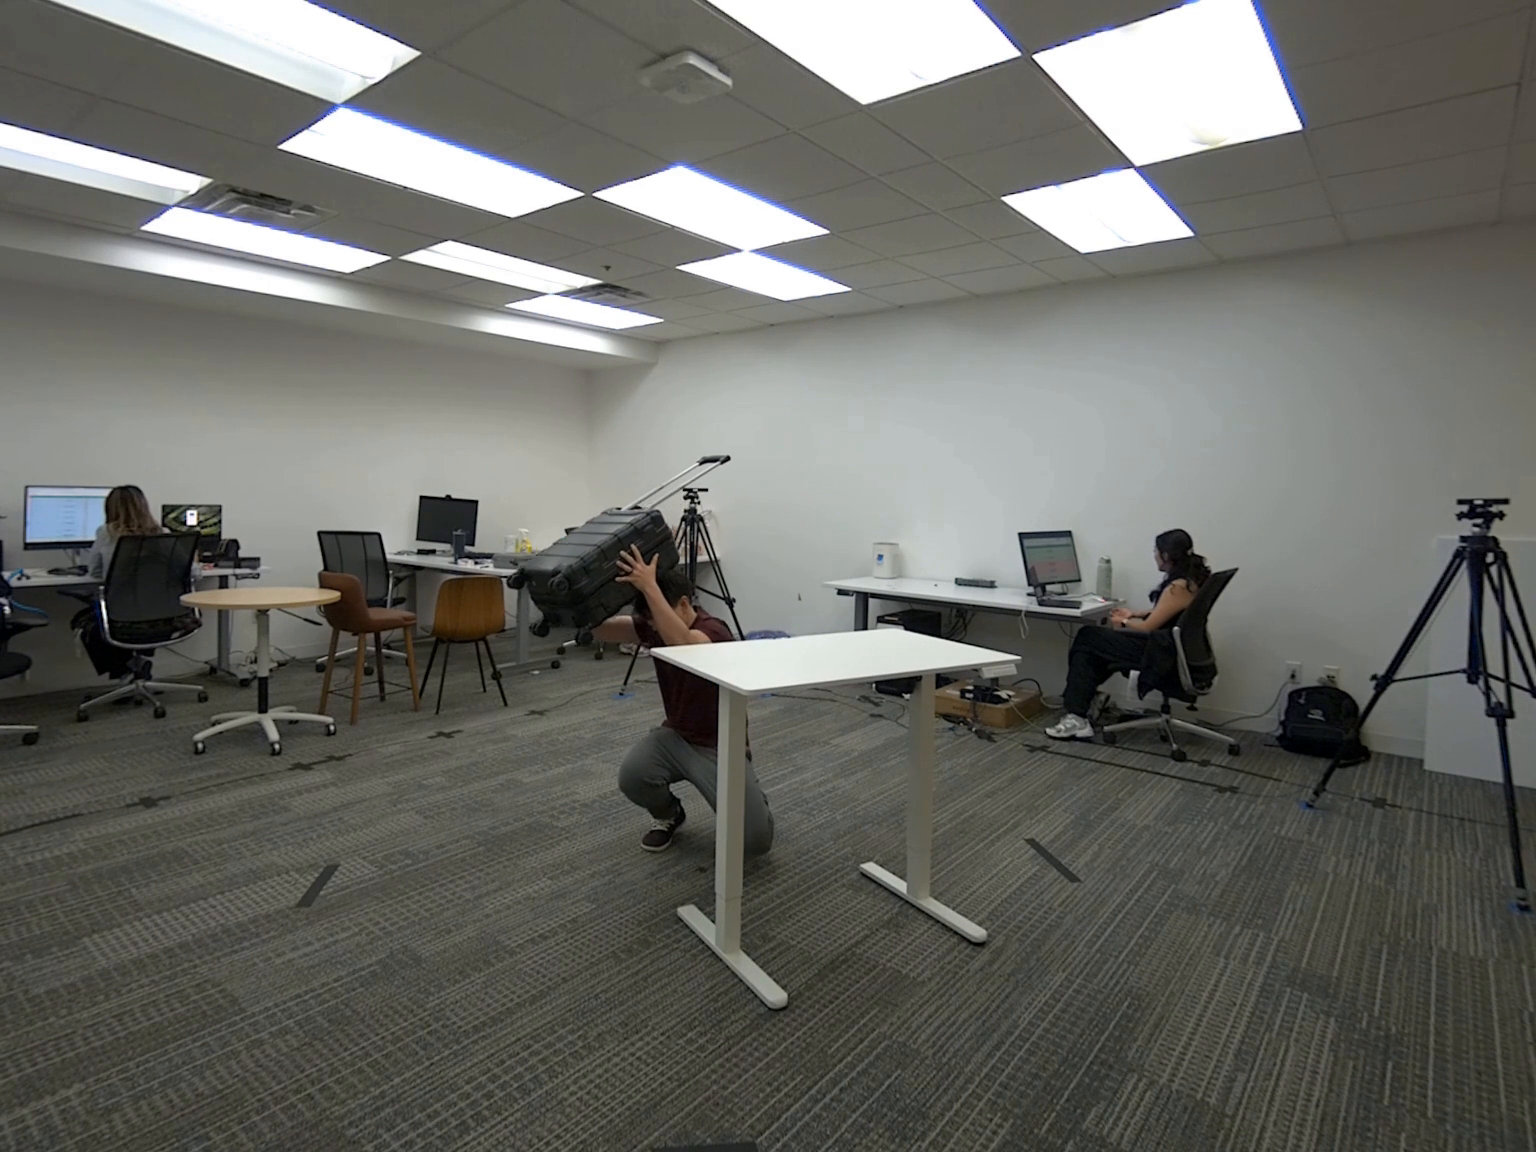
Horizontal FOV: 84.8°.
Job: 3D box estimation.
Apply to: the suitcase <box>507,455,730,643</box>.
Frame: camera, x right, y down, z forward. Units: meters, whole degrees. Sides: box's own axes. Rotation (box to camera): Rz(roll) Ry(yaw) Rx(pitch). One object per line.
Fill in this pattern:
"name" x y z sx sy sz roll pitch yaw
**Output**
"suitcase" -0.498 -0.143 3.214 0.397 0.251 0.971 3 33 46
